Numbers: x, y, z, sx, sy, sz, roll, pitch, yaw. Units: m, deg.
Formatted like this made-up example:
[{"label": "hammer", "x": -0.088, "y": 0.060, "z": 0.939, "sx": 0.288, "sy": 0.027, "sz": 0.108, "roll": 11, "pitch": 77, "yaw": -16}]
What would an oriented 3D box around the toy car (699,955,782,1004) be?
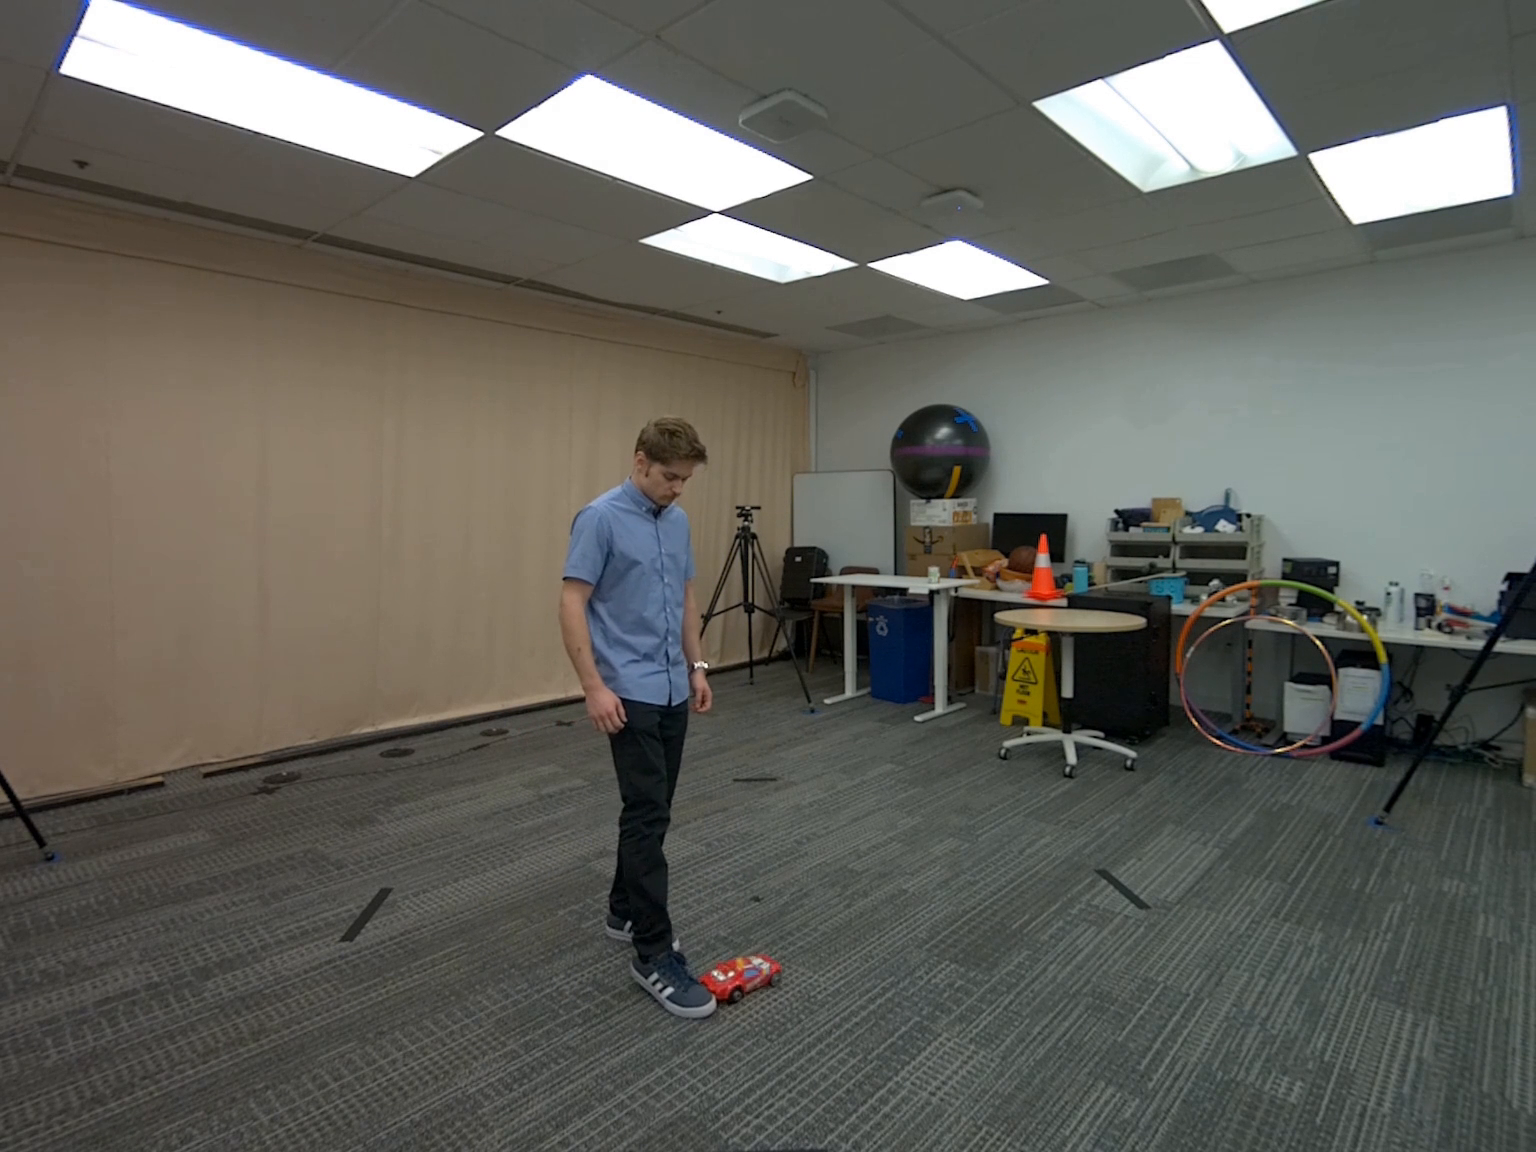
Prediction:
[{"label": "toy car", "x": -0.083, "y": 1.161, "z": 2.424, "sx": 0.246, "sy": 0.083, "sz": 0.134, "roll": 11, "pitch": -3, "yaw": -37}]
